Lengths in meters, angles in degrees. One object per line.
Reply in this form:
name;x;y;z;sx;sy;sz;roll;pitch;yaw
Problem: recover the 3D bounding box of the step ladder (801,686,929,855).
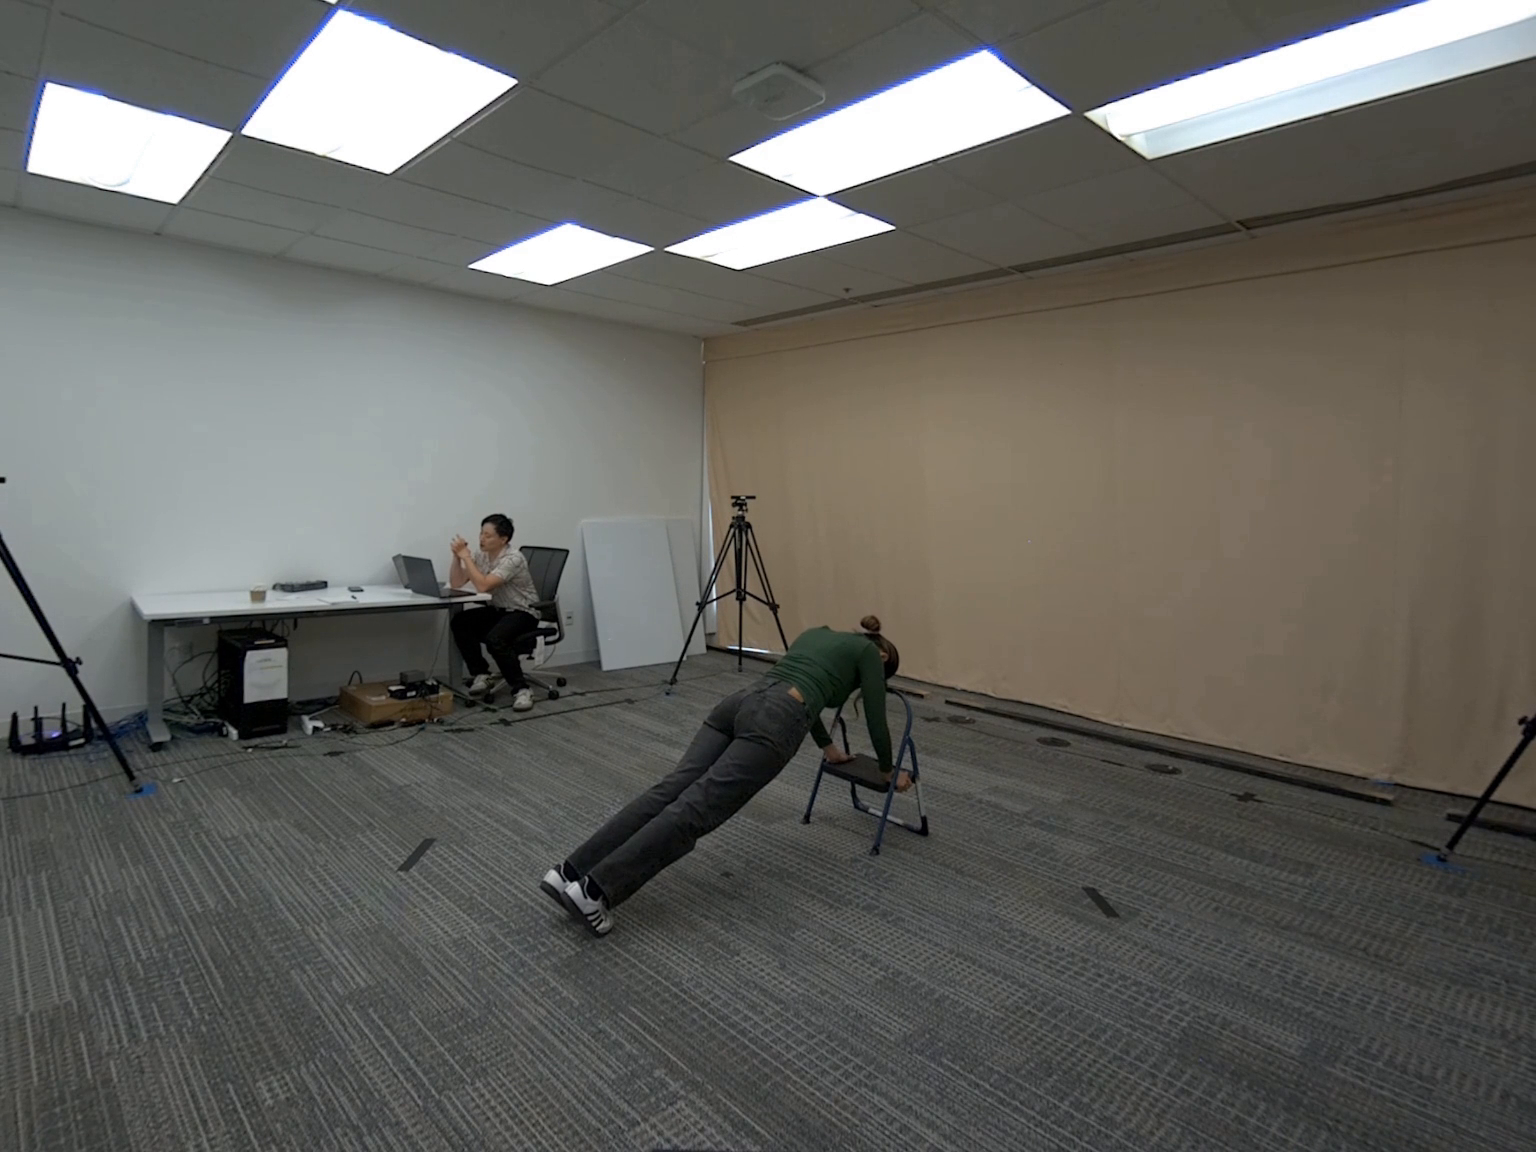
step ladder;0.411;0.775;3.555;0.341;0.605;0.441;-1;4;-40
